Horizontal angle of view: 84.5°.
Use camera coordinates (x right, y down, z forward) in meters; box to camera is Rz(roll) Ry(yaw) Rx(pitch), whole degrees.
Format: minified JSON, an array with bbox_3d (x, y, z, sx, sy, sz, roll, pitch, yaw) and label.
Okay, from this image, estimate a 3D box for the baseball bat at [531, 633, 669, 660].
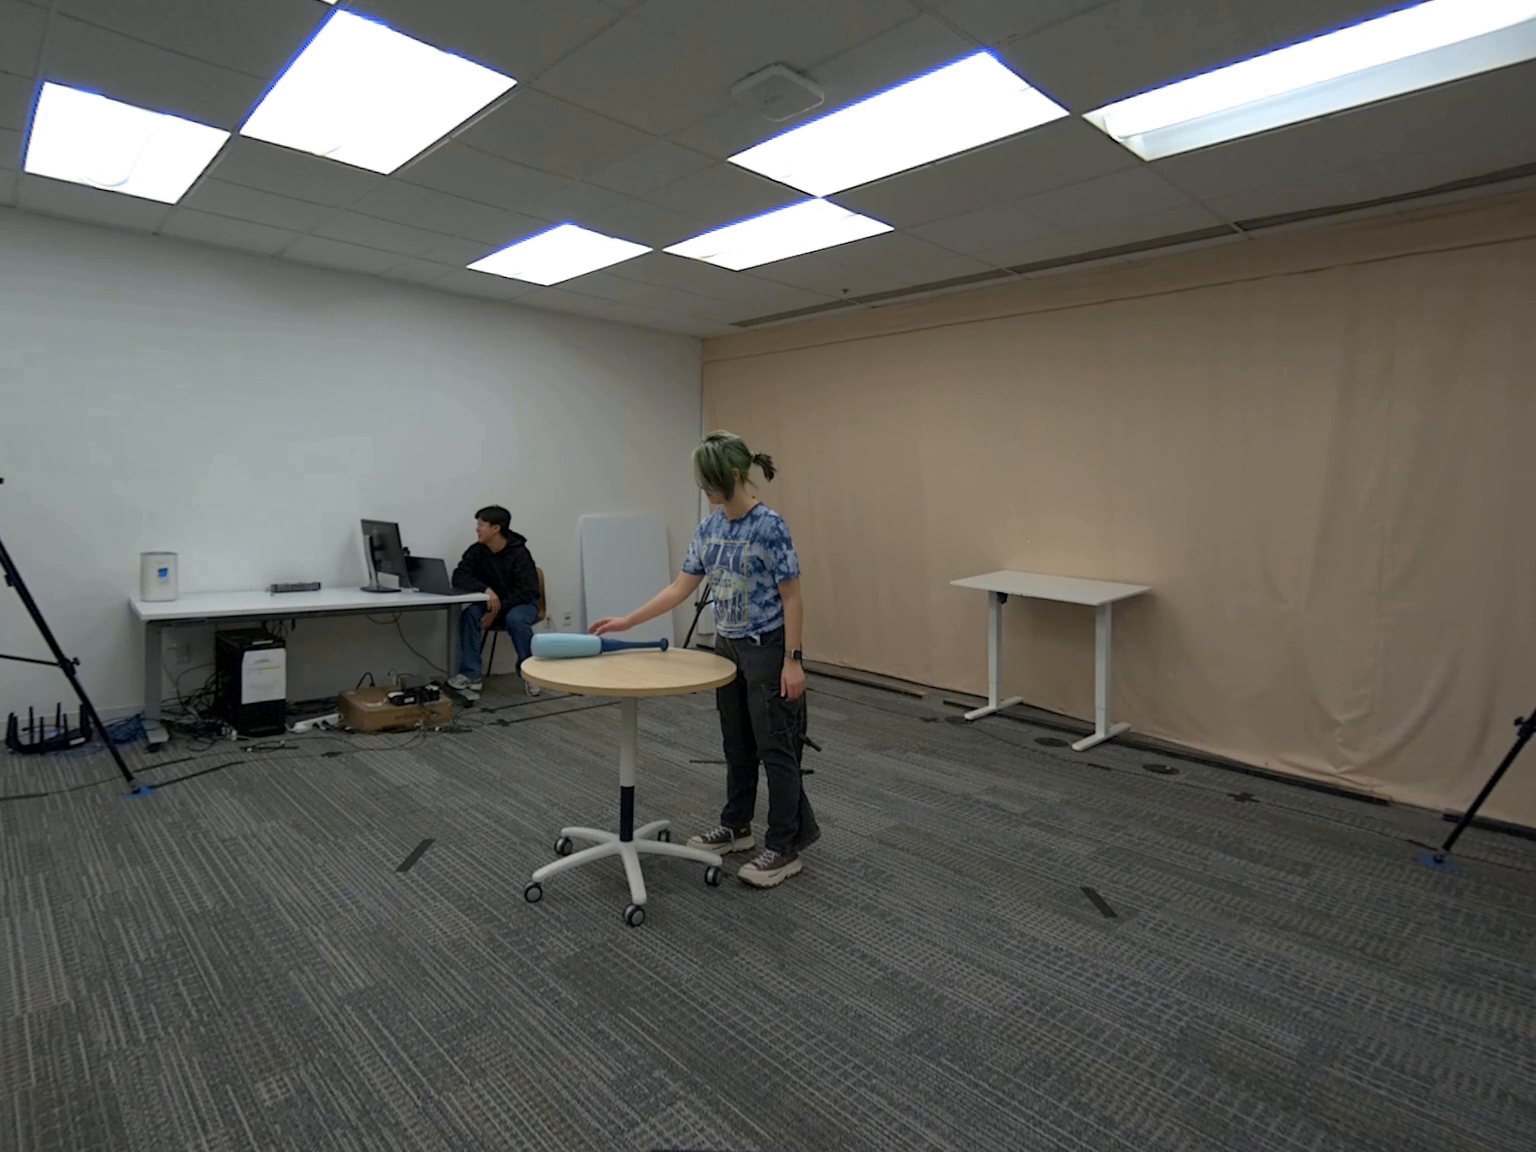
[{"bbox_3d":[-0.629,0.267,3.183,0.531,0.089,0.091,4,3,-31],"label":"baseball bat"}]
